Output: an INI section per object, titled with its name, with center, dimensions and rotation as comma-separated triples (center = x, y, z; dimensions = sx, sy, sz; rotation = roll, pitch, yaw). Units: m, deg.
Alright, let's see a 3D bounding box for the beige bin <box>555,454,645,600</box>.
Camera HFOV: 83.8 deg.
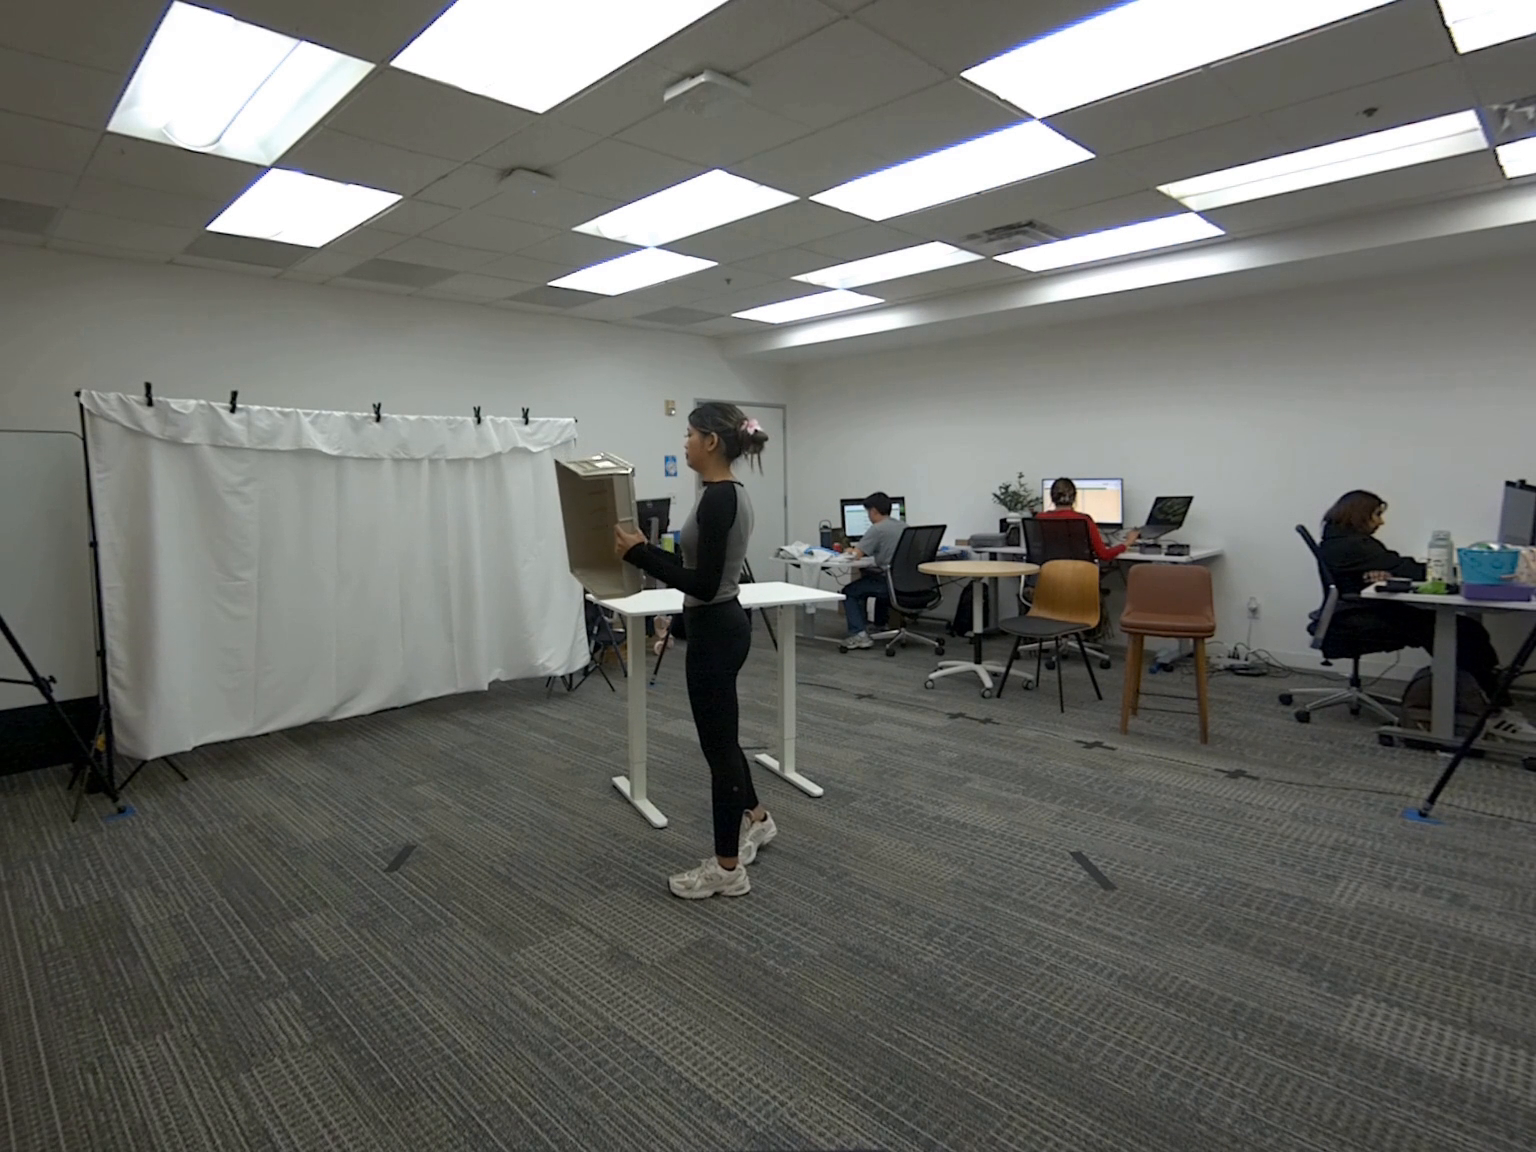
[beige bin]
center = -0.556, -0.179, 2.882
dimensions = 0.186, 0.415, 0.390
rotation = -12, 19, -23
